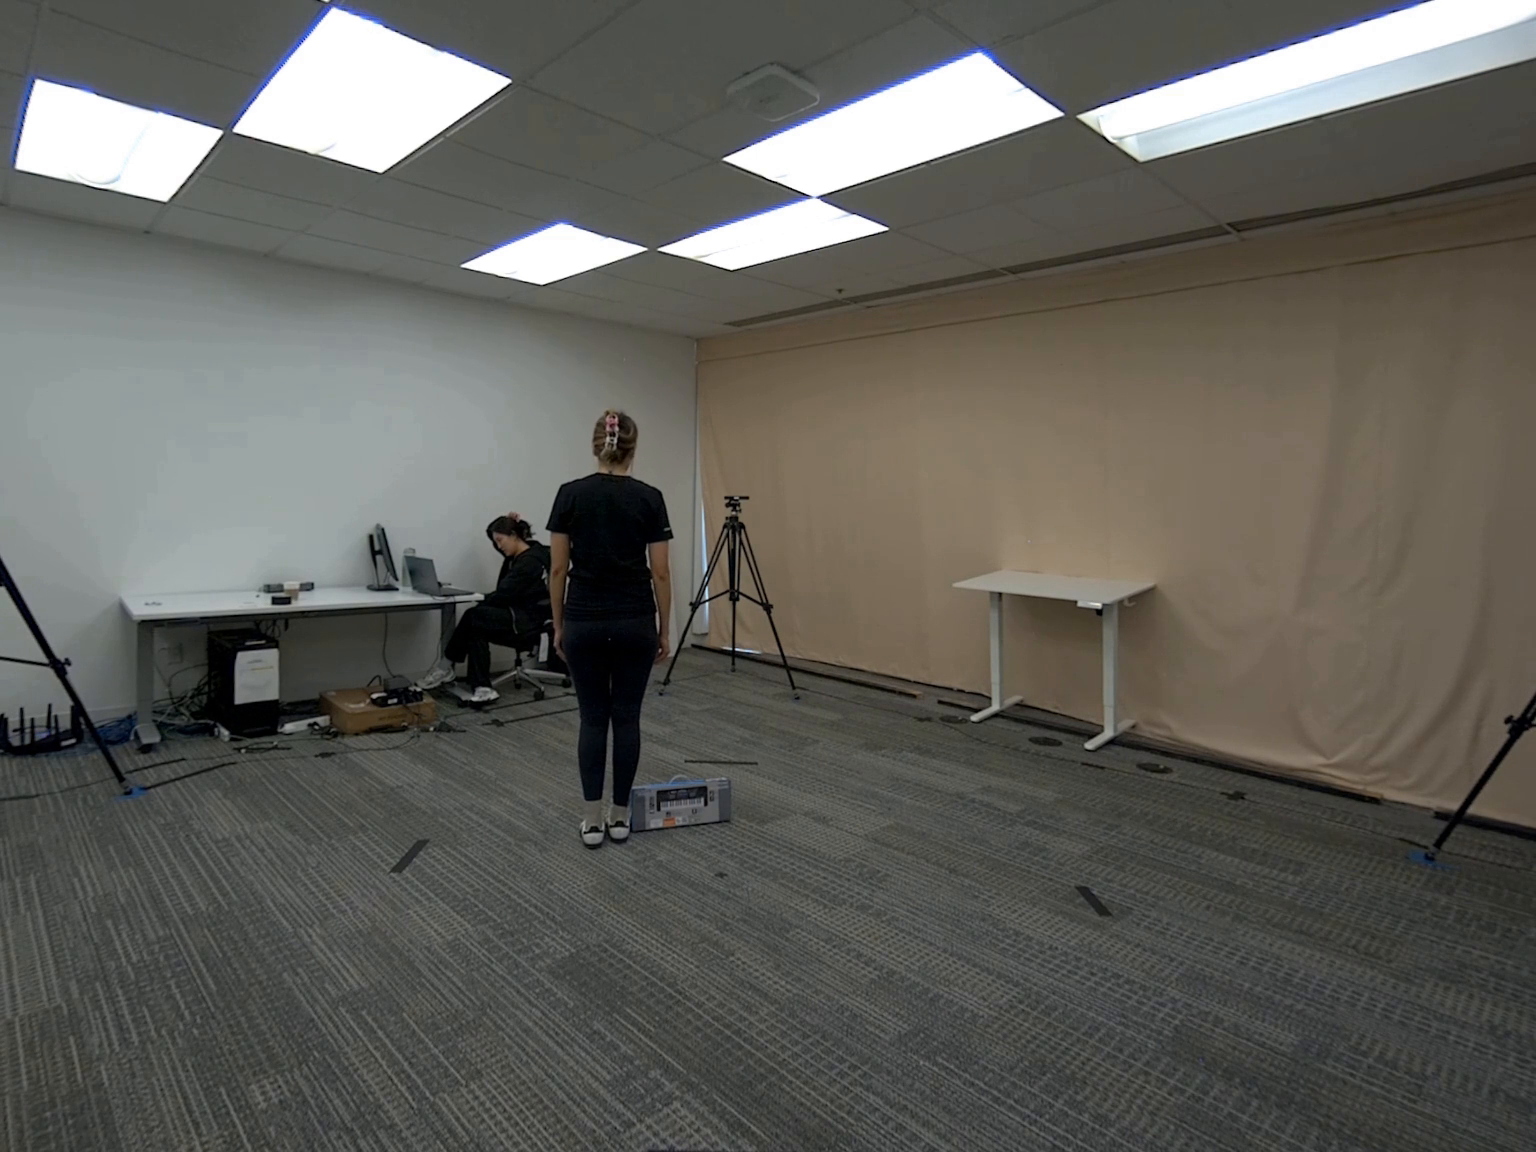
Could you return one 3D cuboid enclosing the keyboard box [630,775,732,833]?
[{"bbox_3d":[-0.380,0.969,3.577,0.430,0.176,0.060,-1,-5,-21],"label":"keyboard box"}]
